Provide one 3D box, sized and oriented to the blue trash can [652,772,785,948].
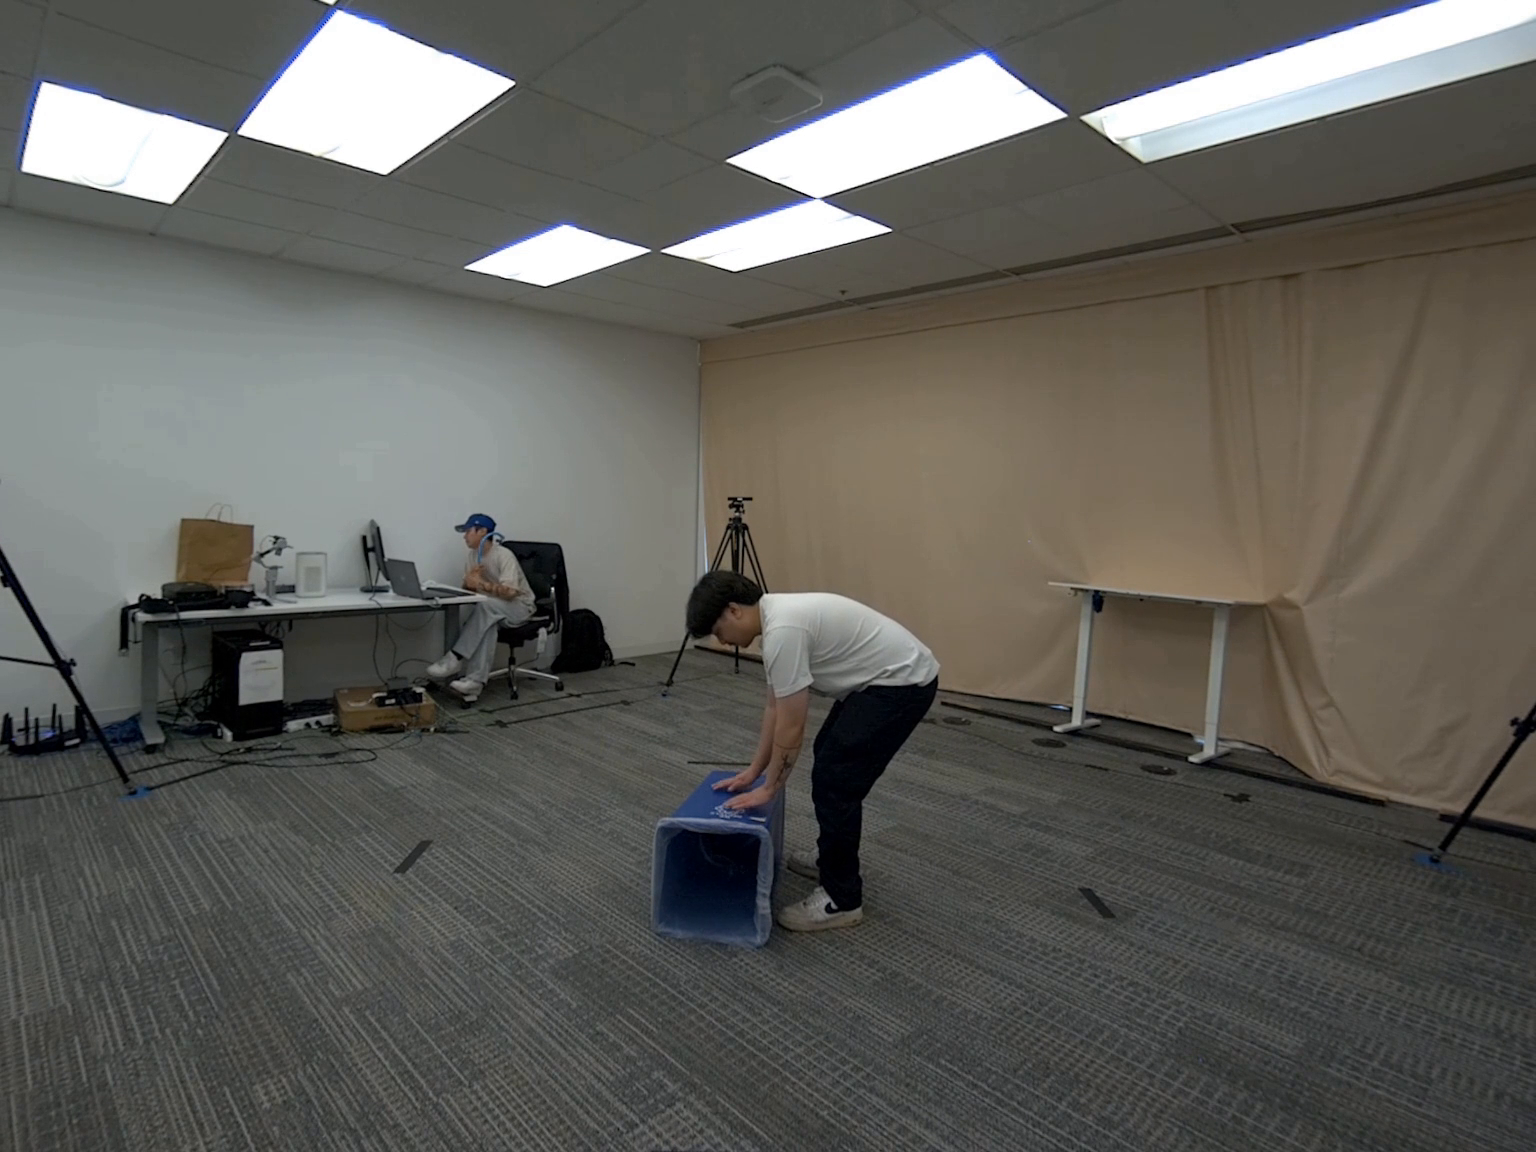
[{"bbox_3d":[-0.142,0.948,2.981,0.376,0.378,0.709,1,2,7],"label":"blue trash can"}]
